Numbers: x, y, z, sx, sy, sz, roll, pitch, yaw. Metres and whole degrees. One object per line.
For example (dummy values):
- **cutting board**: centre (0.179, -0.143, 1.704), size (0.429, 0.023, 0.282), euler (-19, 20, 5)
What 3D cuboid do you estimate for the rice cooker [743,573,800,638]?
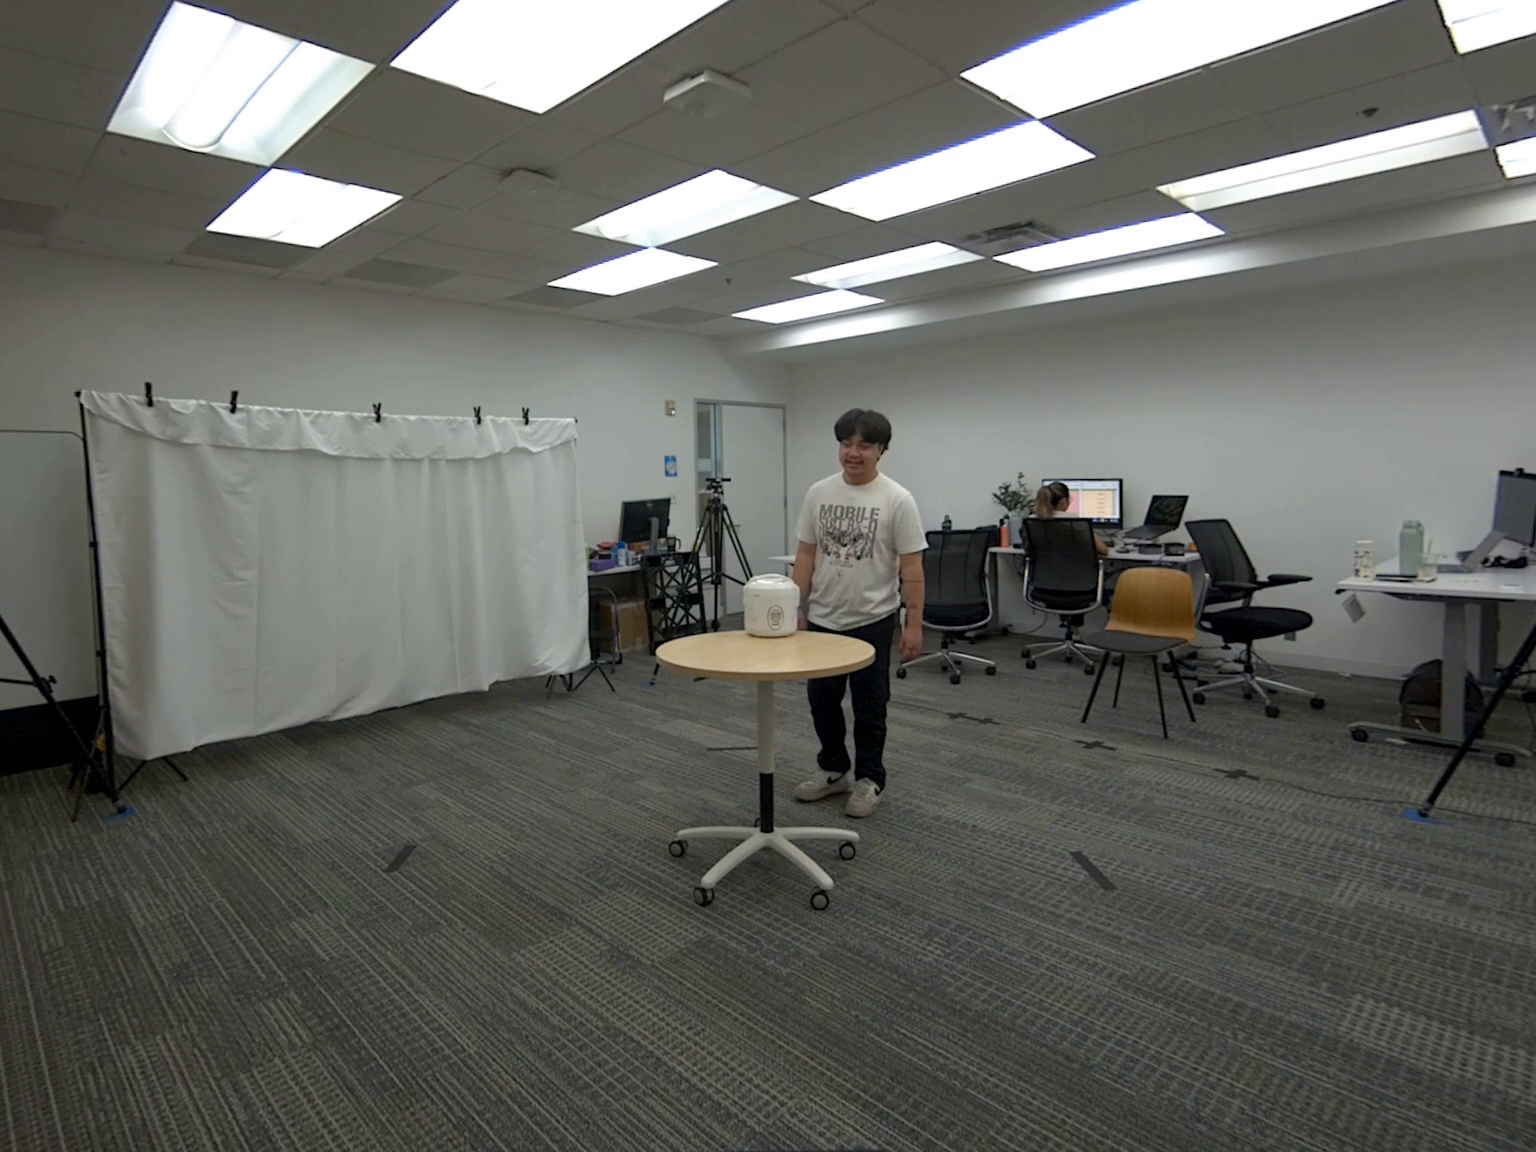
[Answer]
- **rice cooker**: centre (0.010, 0.108, 3.290), size (0.219, 0.232, 0.219), euler (-2, 4, -6)
